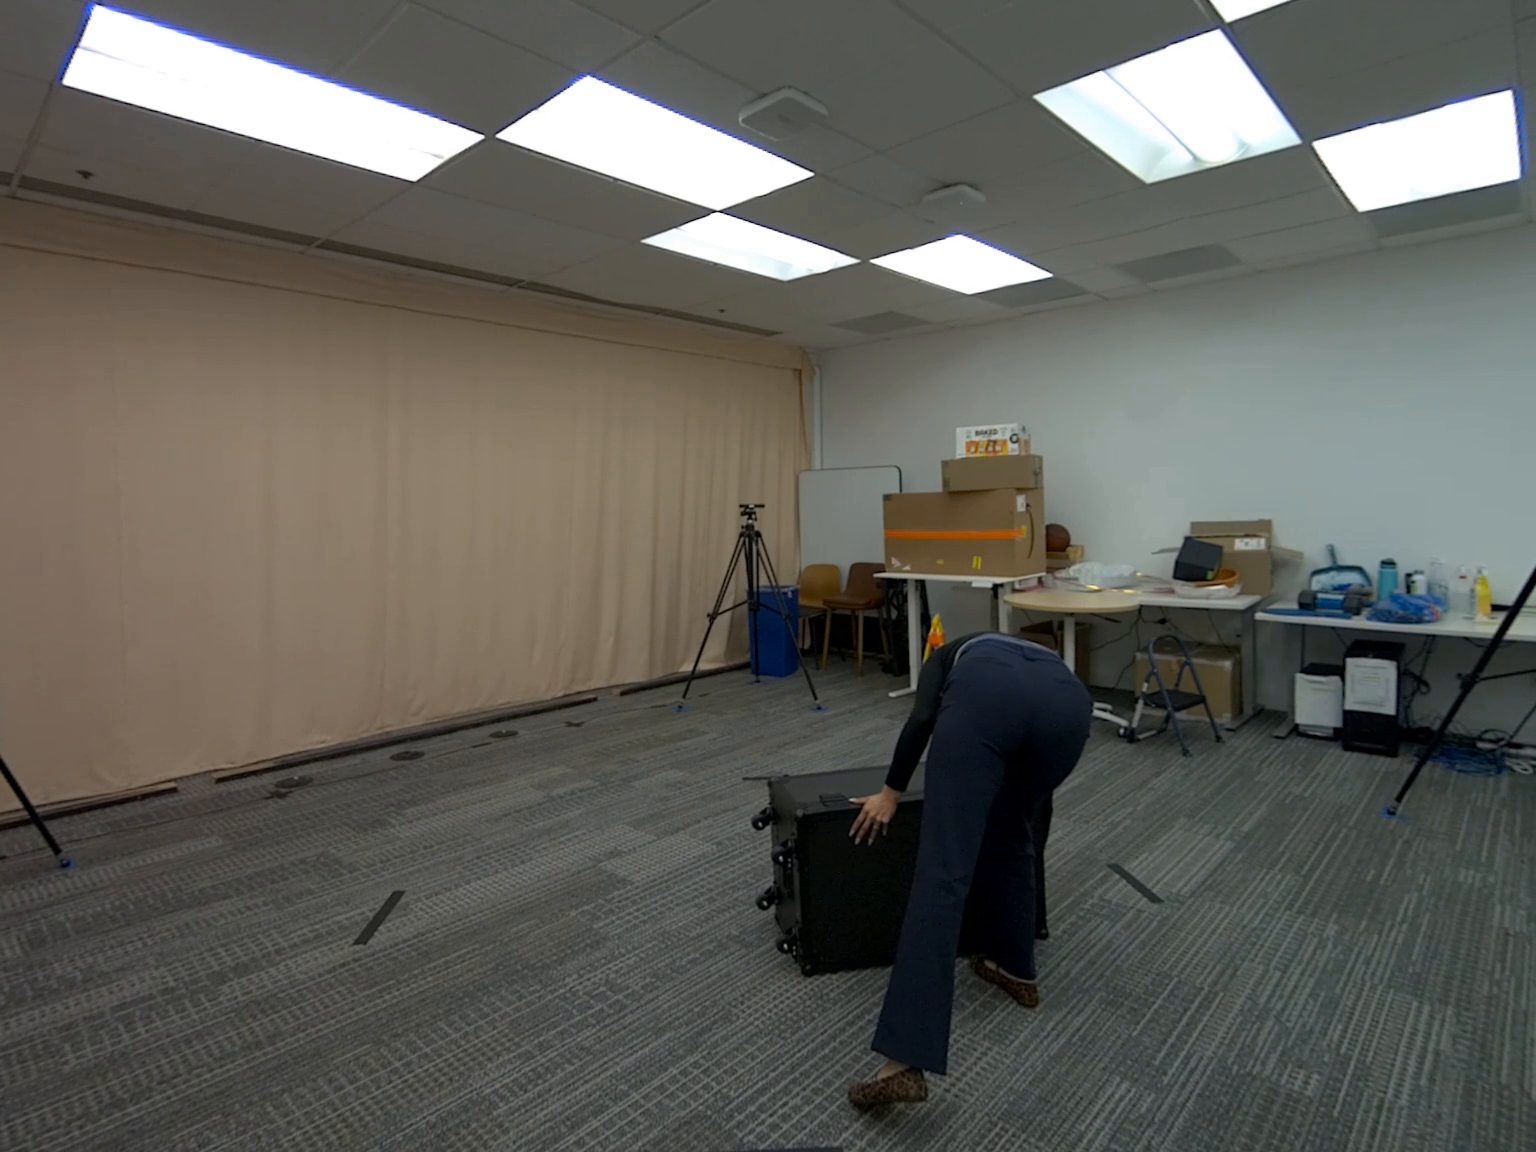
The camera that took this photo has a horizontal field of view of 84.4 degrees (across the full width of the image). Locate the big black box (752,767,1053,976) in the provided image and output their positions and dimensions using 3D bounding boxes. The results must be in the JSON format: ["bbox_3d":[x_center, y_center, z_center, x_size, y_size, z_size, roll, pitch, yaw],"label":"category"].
[{"bbox_3d":[0.401,0.890,2.701,0.851,0.521,0.401,-3,2,-12],"label":"big black box"}]
